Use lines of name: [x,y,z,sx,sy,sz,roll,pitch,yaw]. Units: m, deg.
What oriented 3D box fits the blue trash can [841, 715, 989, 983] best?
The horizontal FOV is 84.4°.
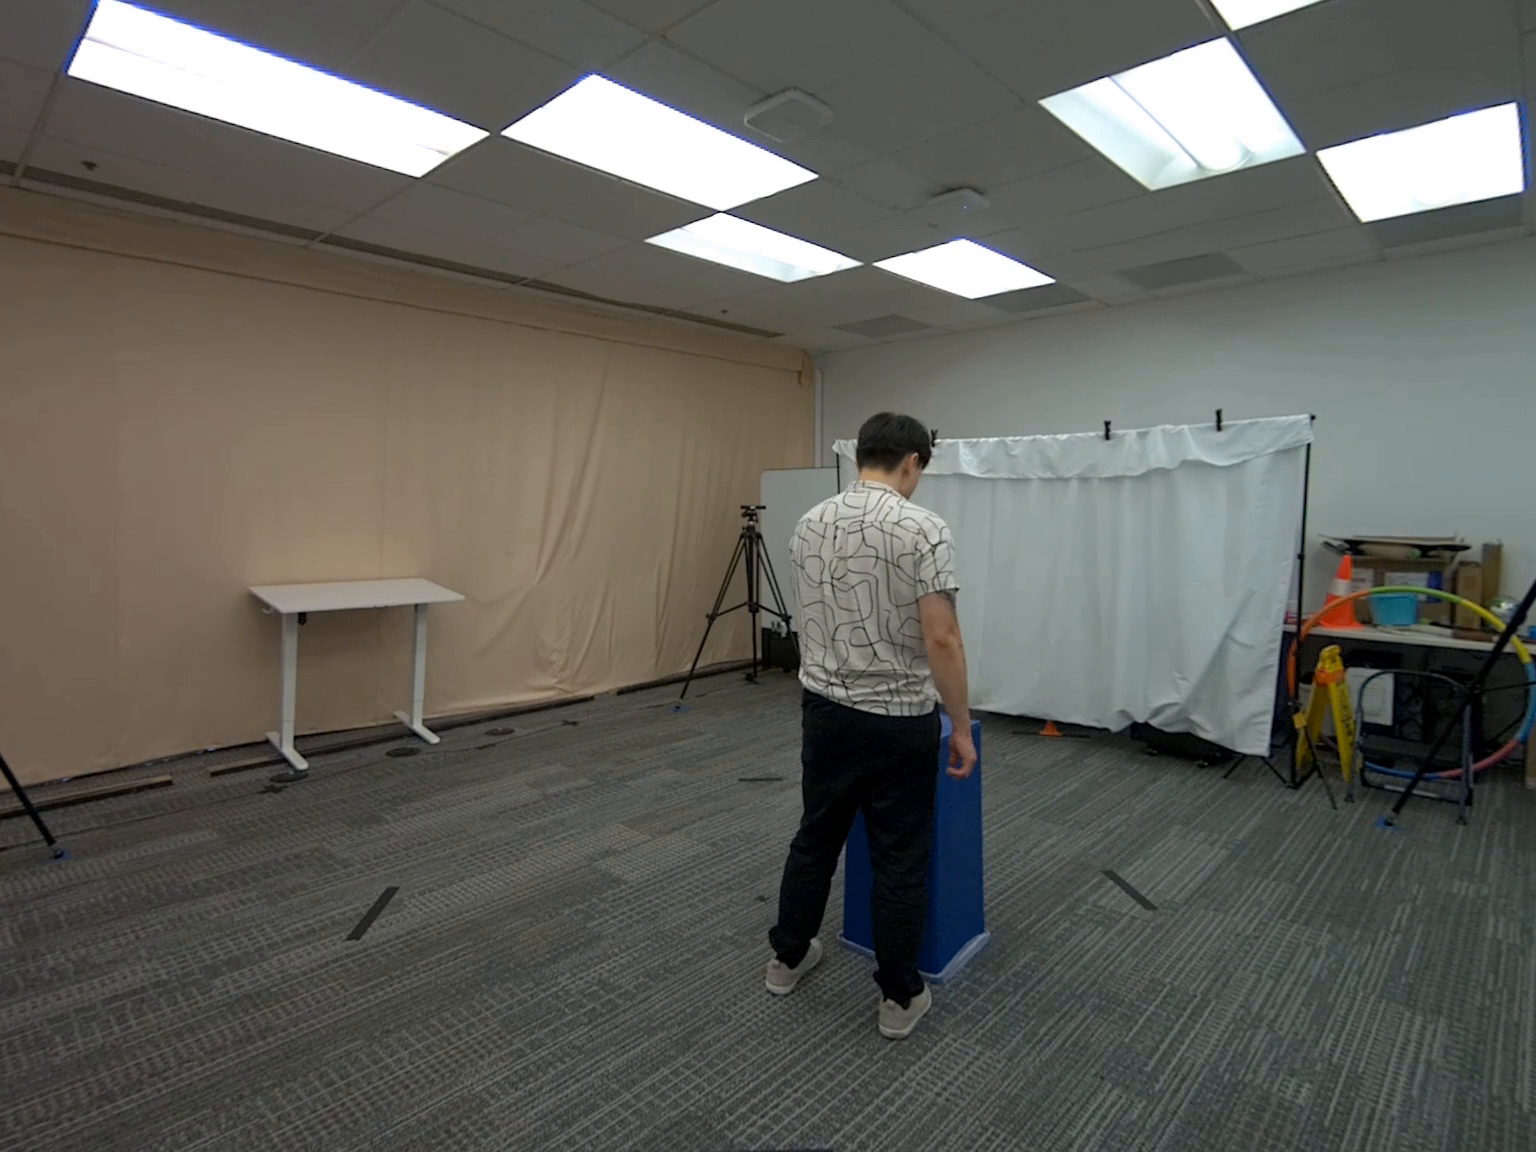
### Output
blue trash can: [0.479,0.814,2.667,0.386,0.712,0.366,4,5,41]
